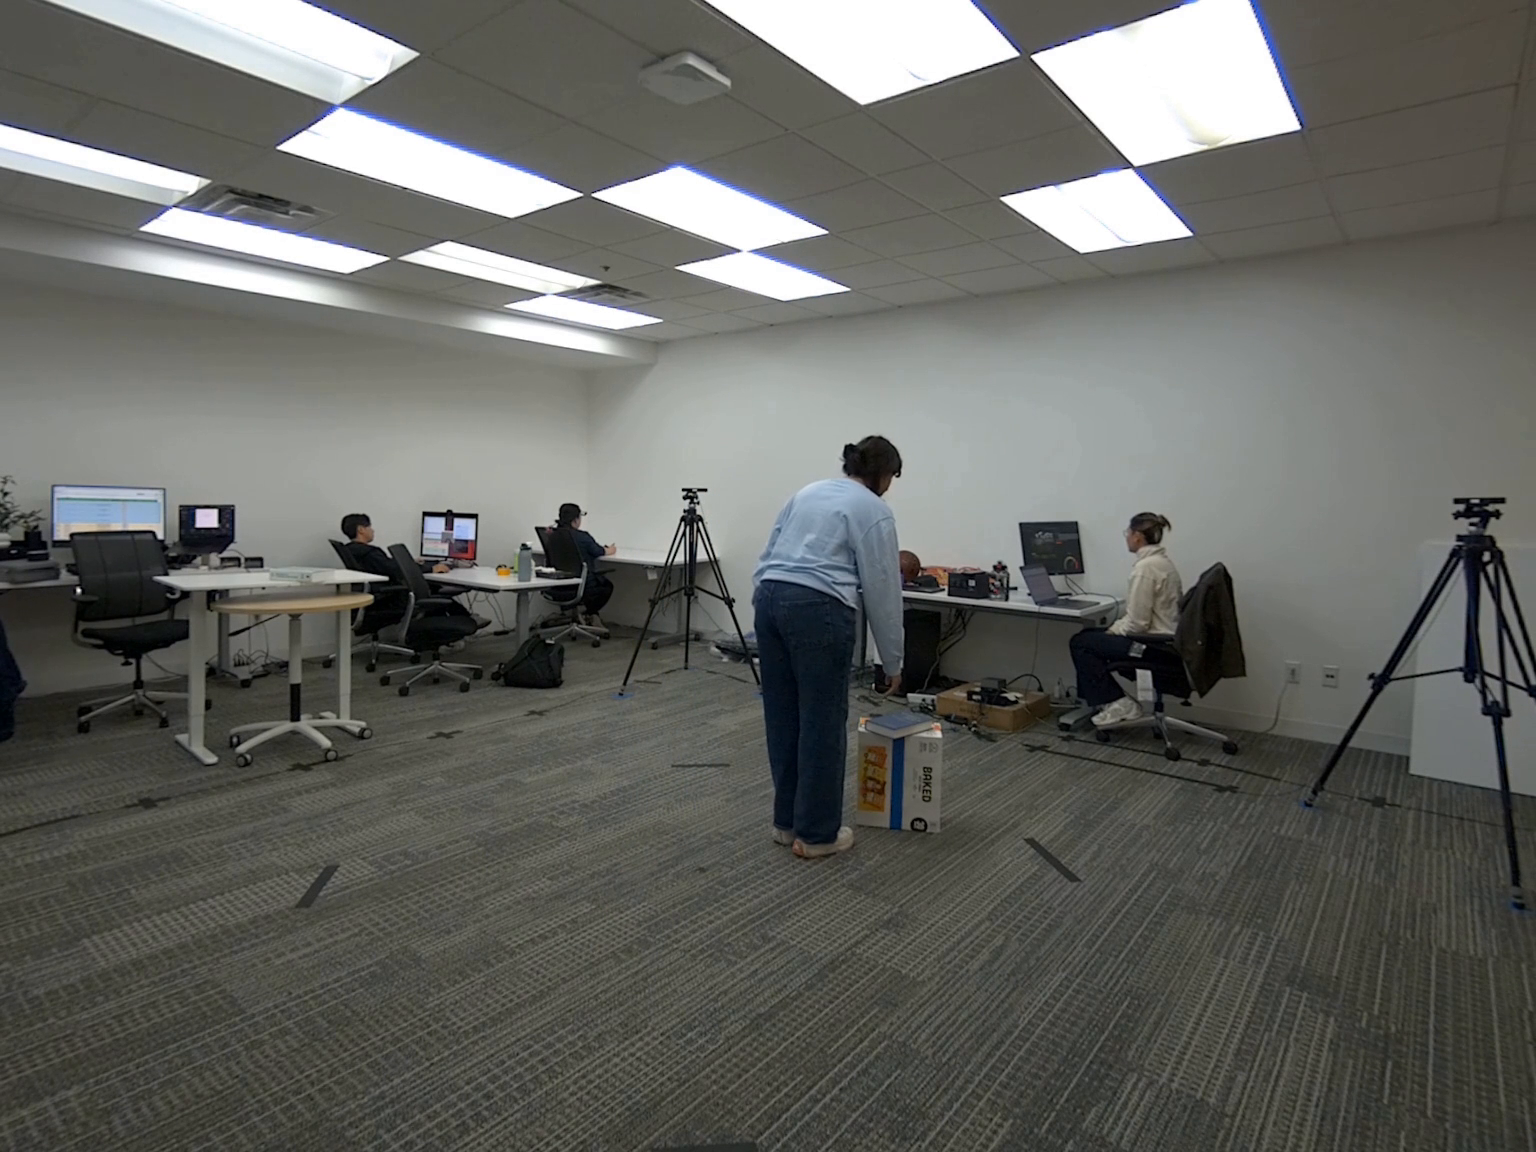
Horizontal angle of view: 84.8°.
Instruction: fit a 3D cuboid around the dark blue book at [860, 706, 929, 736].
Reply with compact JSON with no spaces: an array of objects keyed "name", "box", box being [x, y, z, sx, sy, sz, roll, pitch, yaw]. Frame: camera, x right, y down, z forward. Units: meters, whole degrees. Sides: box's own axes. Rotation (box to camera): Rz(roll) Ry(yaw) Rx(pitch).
[{"name":"dark blue book","box":[0.533,0.608,3.556,0.238,0.045,0.169,-5,9,-39]}]
